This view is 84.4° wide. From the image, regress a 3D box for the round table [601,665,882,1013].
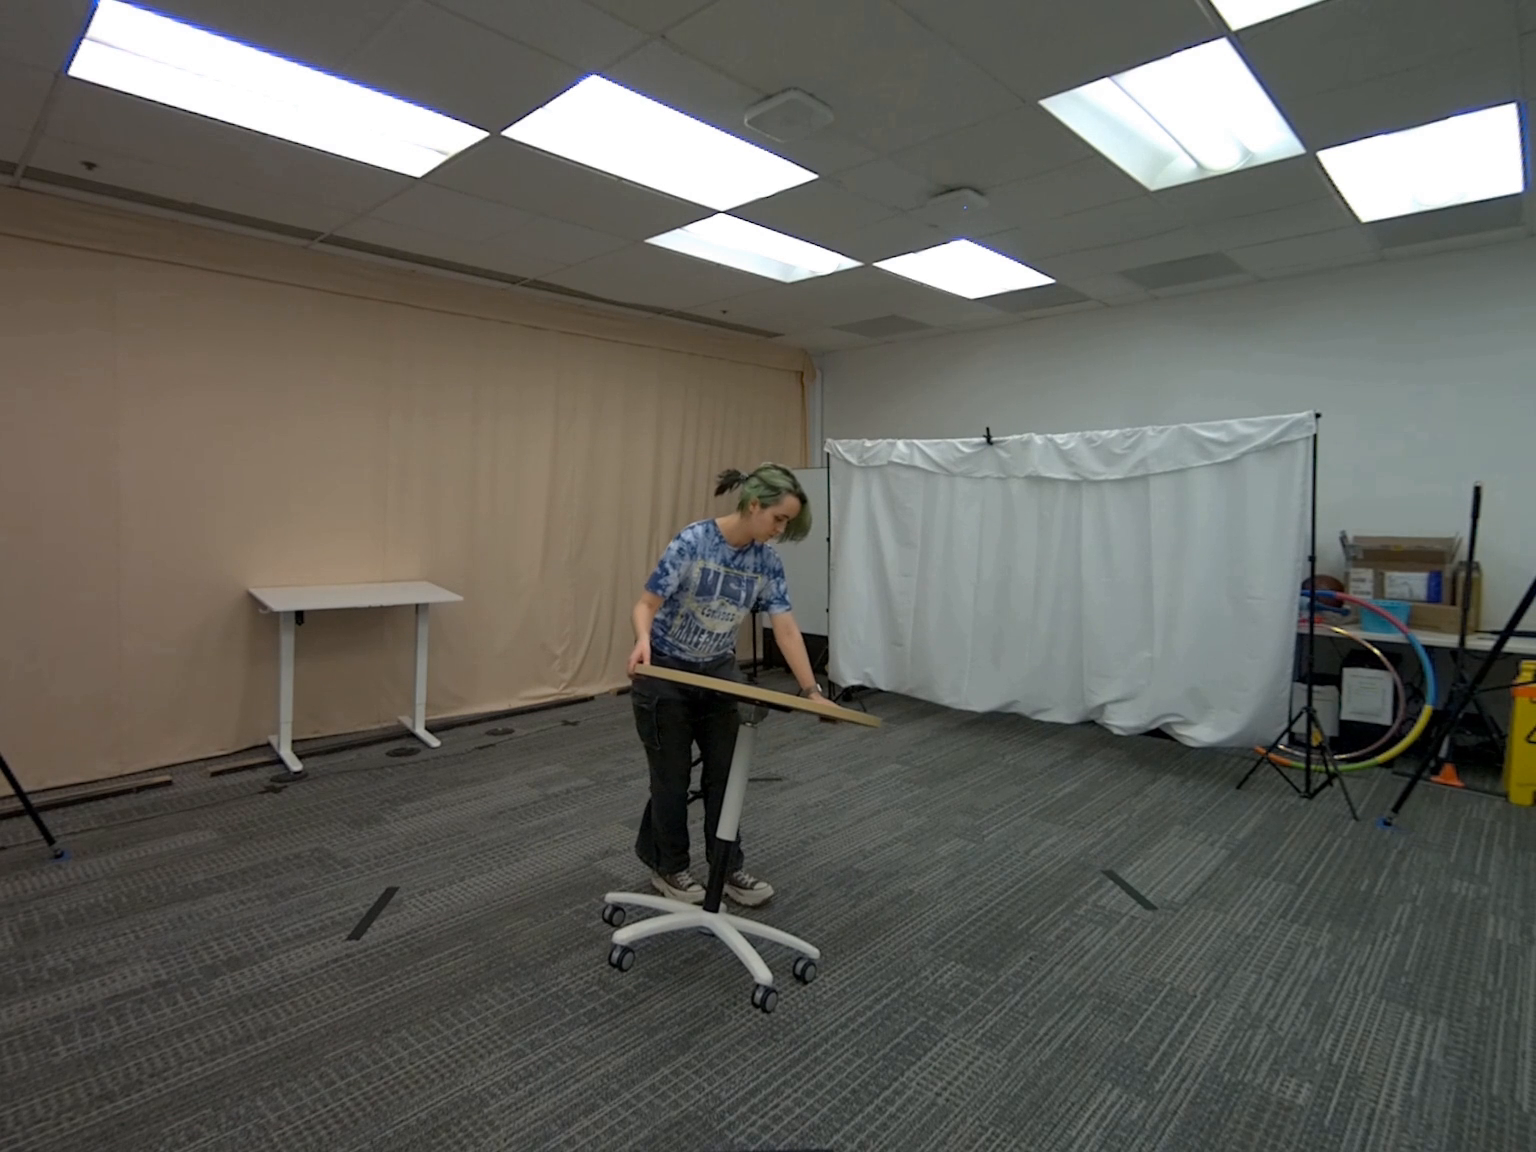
[{"bbox_3d":[-0.110,0.739,2.494,0.765,0.797,0.760,12,-9,0],"label":"round table"}]
